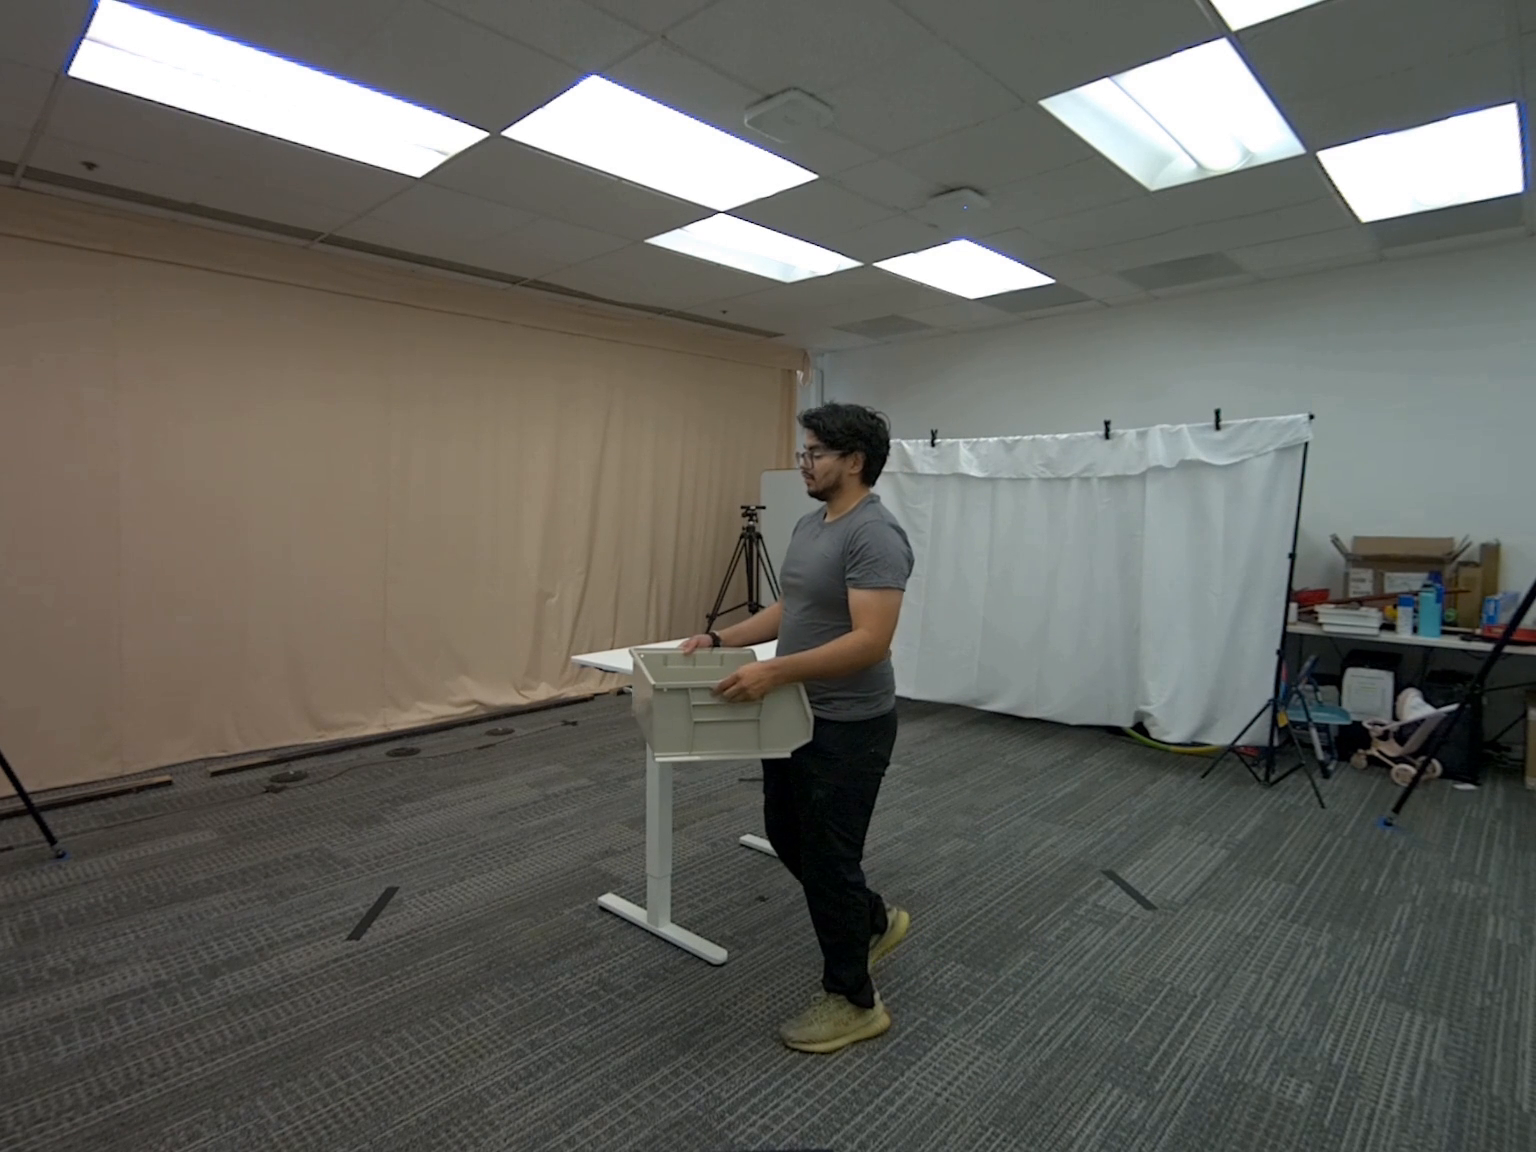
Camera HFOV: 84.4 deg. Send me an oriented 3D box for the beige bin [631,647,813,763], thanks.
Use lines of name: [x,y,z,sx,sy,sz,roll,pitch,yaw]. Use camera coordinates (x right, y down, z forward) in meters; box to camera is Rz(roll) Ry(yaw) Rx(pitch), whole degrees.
beige bin: [-0.129,0.304,2.077,0.372,0.188,0.430,0,5,-15]
